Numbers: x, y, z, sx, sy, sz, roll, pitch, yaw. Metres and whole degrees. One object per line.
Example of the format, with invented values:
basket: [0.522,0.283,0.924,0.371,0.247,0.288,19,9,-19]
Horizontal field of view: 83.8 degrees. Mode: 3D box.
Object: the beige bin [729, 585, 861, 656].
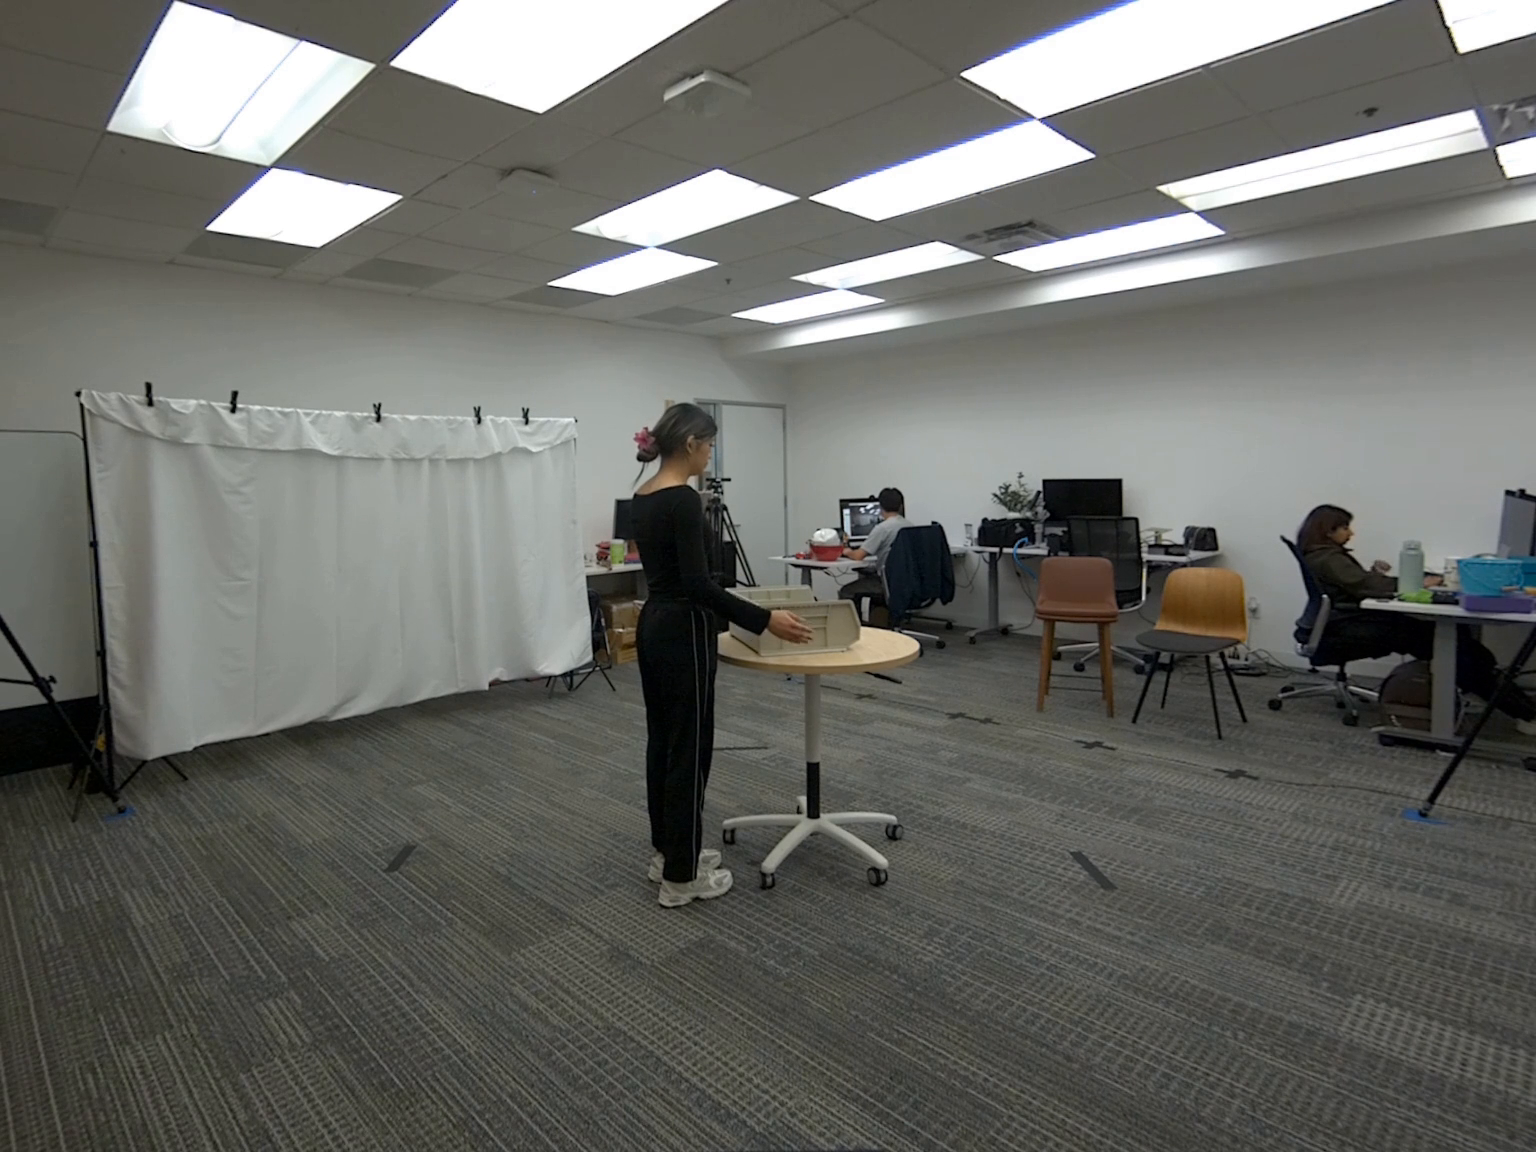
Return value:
beige bin: [0.084,0.156,3.121,0.372,0.188,0.431,-3,7,-17]
